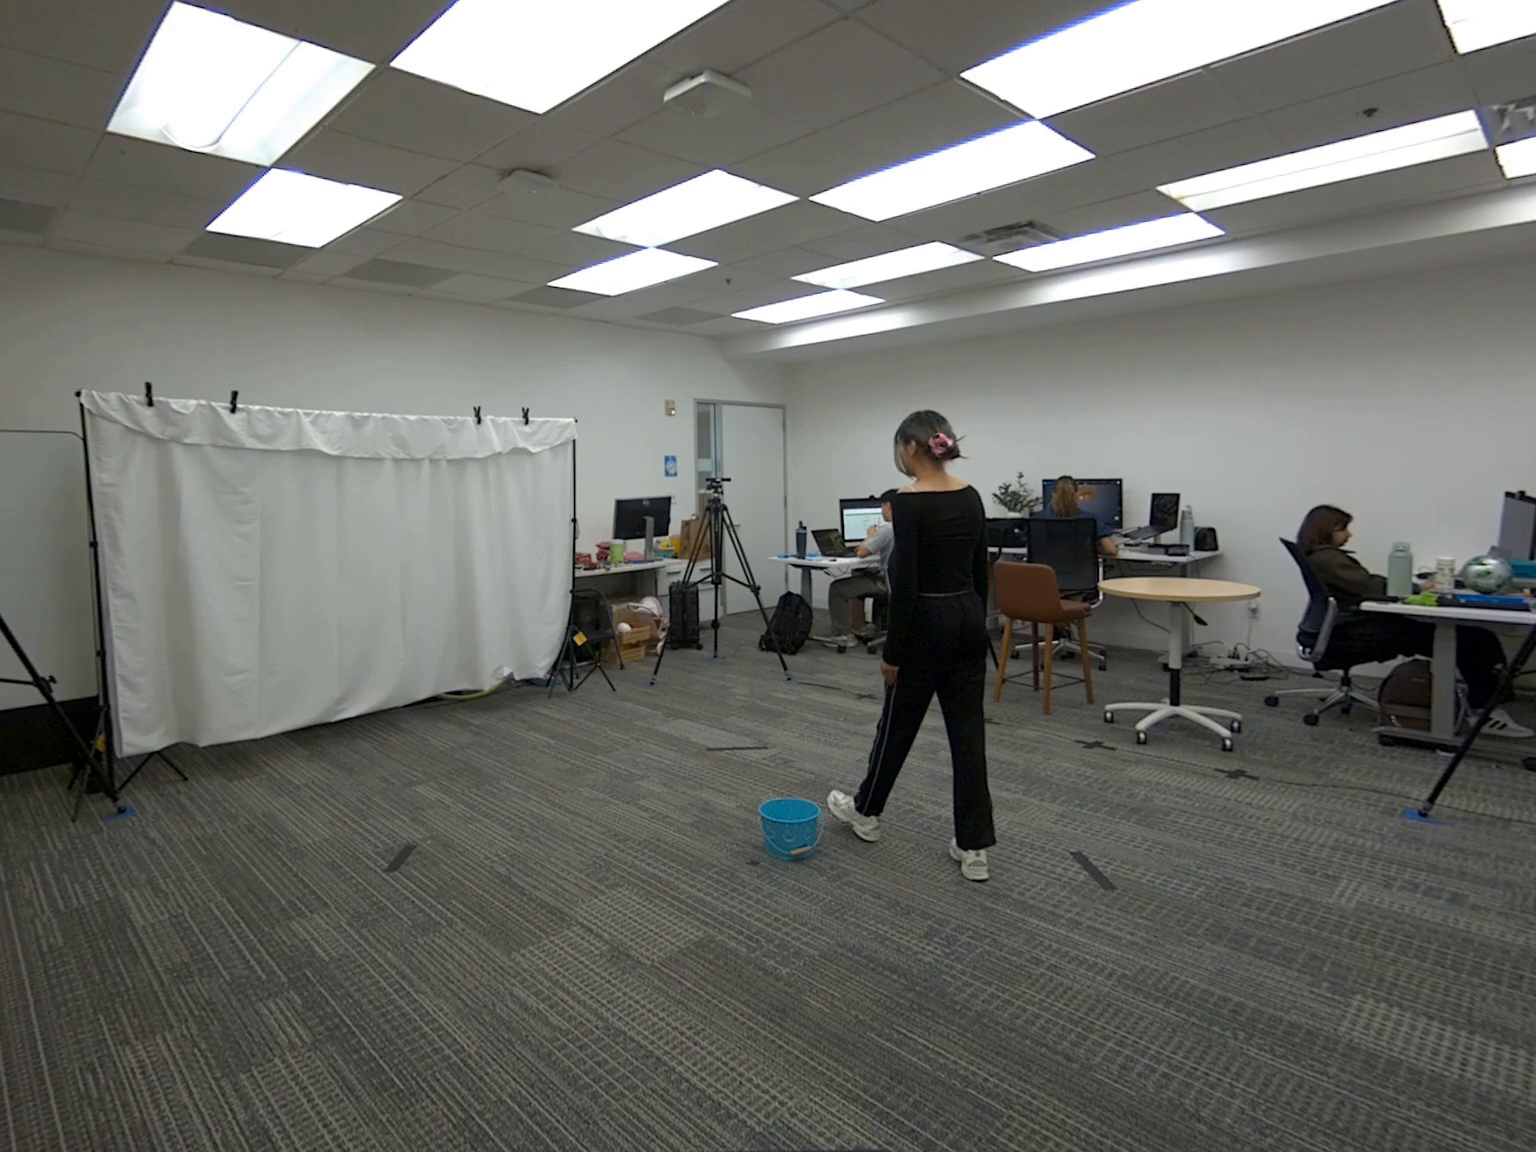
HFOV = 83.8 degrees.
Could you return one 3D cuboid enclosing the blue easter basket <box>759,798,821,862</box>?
[{"bbox_3d":[0.082,0.950,3.209,0.243,0.155,0.245,-1,5,-2],"label":"blue easter basket"}]
